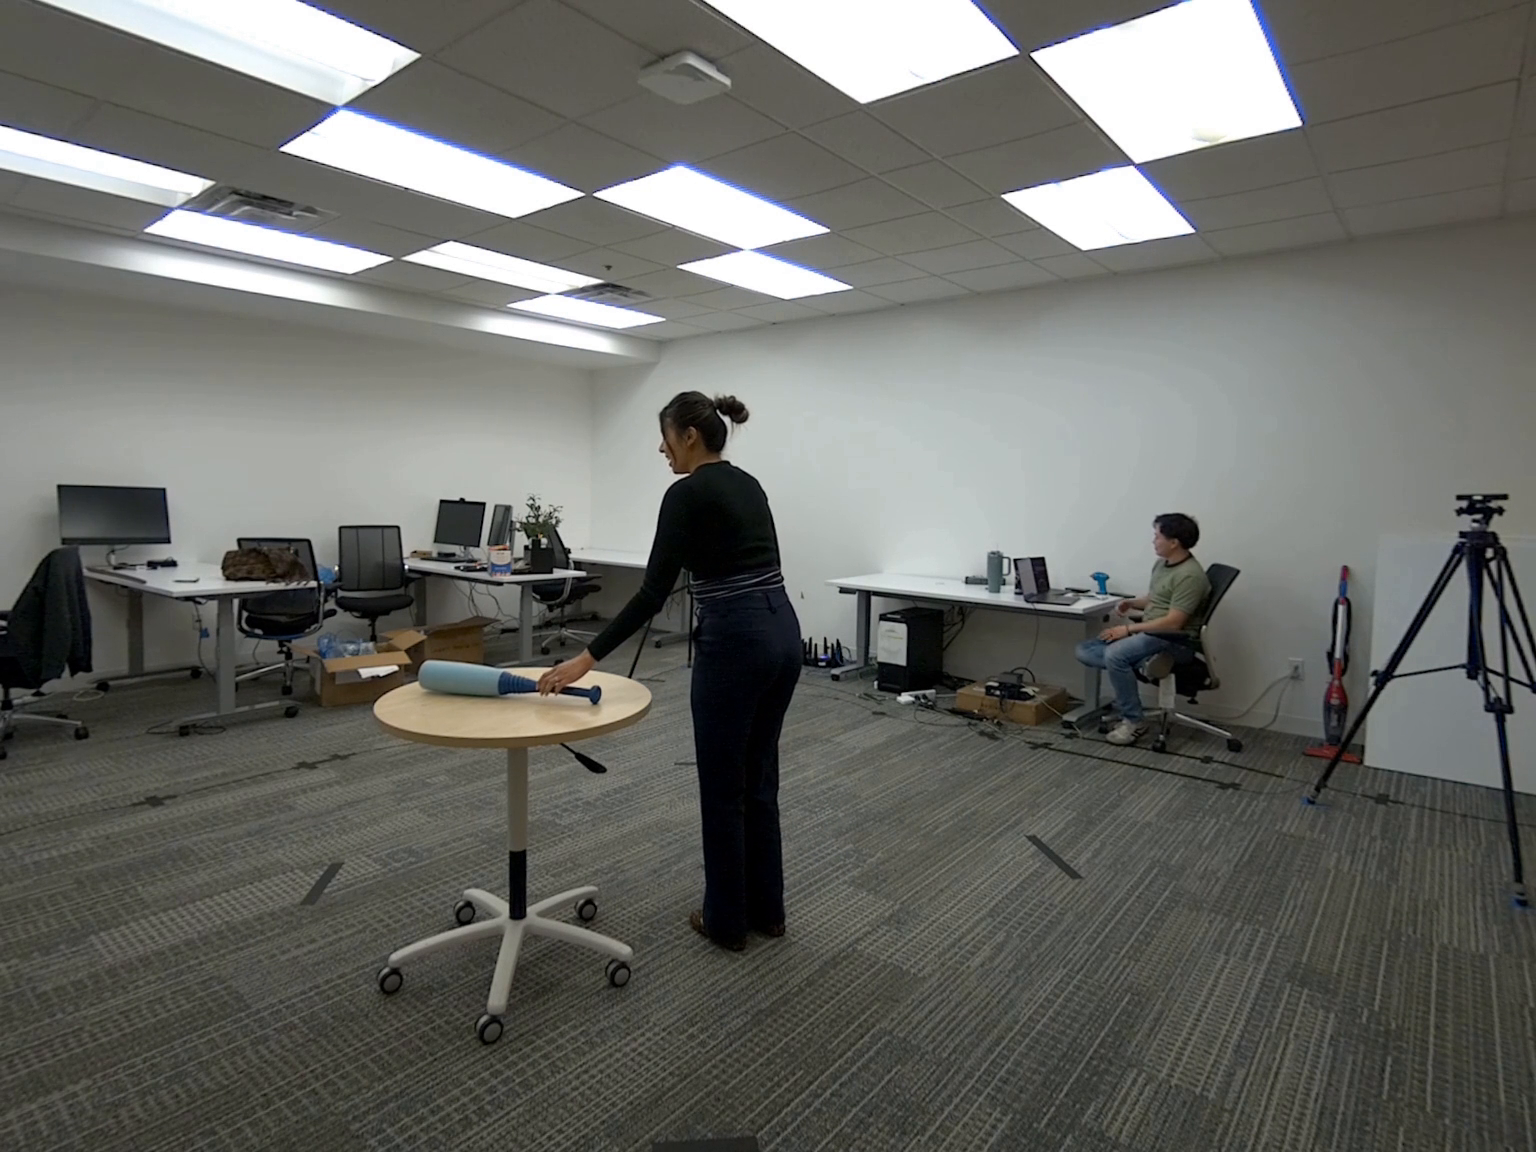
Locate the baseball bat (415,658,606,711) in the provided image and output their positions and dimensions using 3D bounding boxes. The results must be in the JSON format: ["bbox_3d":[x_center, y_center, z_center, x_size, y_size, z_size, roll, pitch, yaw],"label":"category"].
[{"bbox_3d":[-0.743,0.308,2.421,0.549,0.089,0.088,3,4,10],"label":"baseball bat"}]
